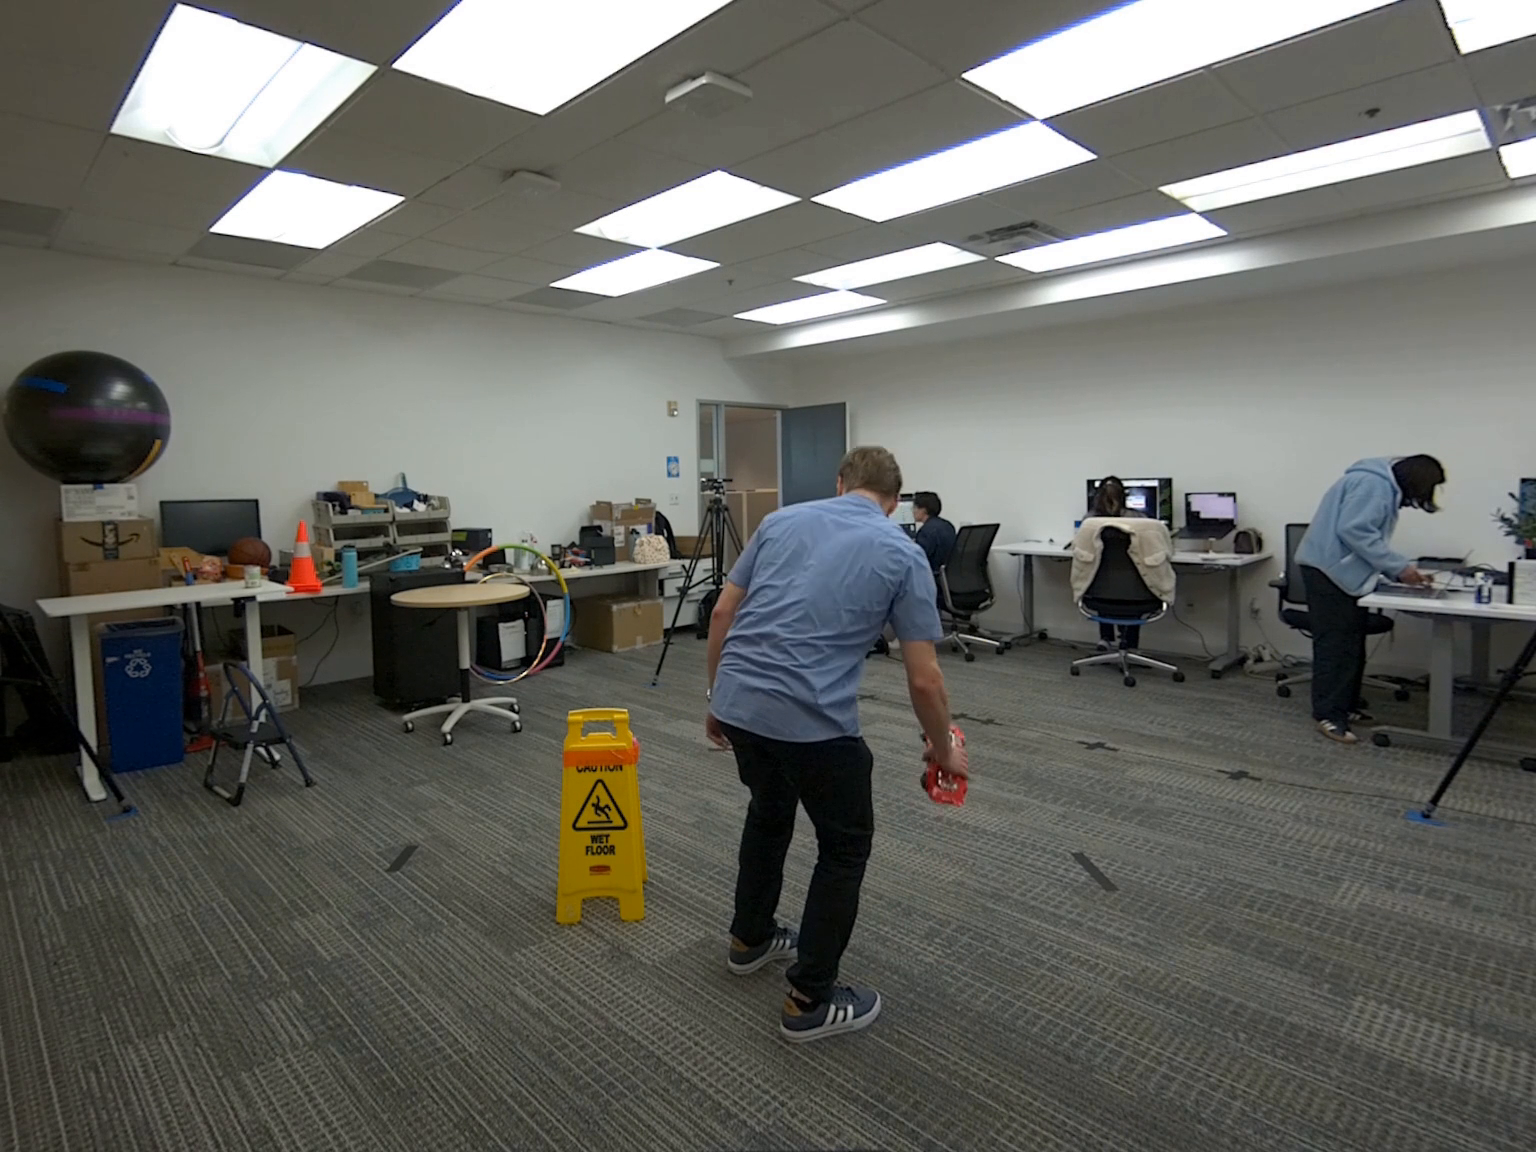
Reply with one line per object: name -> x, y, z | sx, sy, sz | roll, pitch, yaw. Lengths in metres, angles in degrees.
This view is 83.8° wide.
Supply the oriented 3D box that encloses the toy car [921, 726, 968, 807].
toy car -> 0.494, 0.543, 2.343 | 0.130, 0.081, 0.260 | 8, 37, 1
